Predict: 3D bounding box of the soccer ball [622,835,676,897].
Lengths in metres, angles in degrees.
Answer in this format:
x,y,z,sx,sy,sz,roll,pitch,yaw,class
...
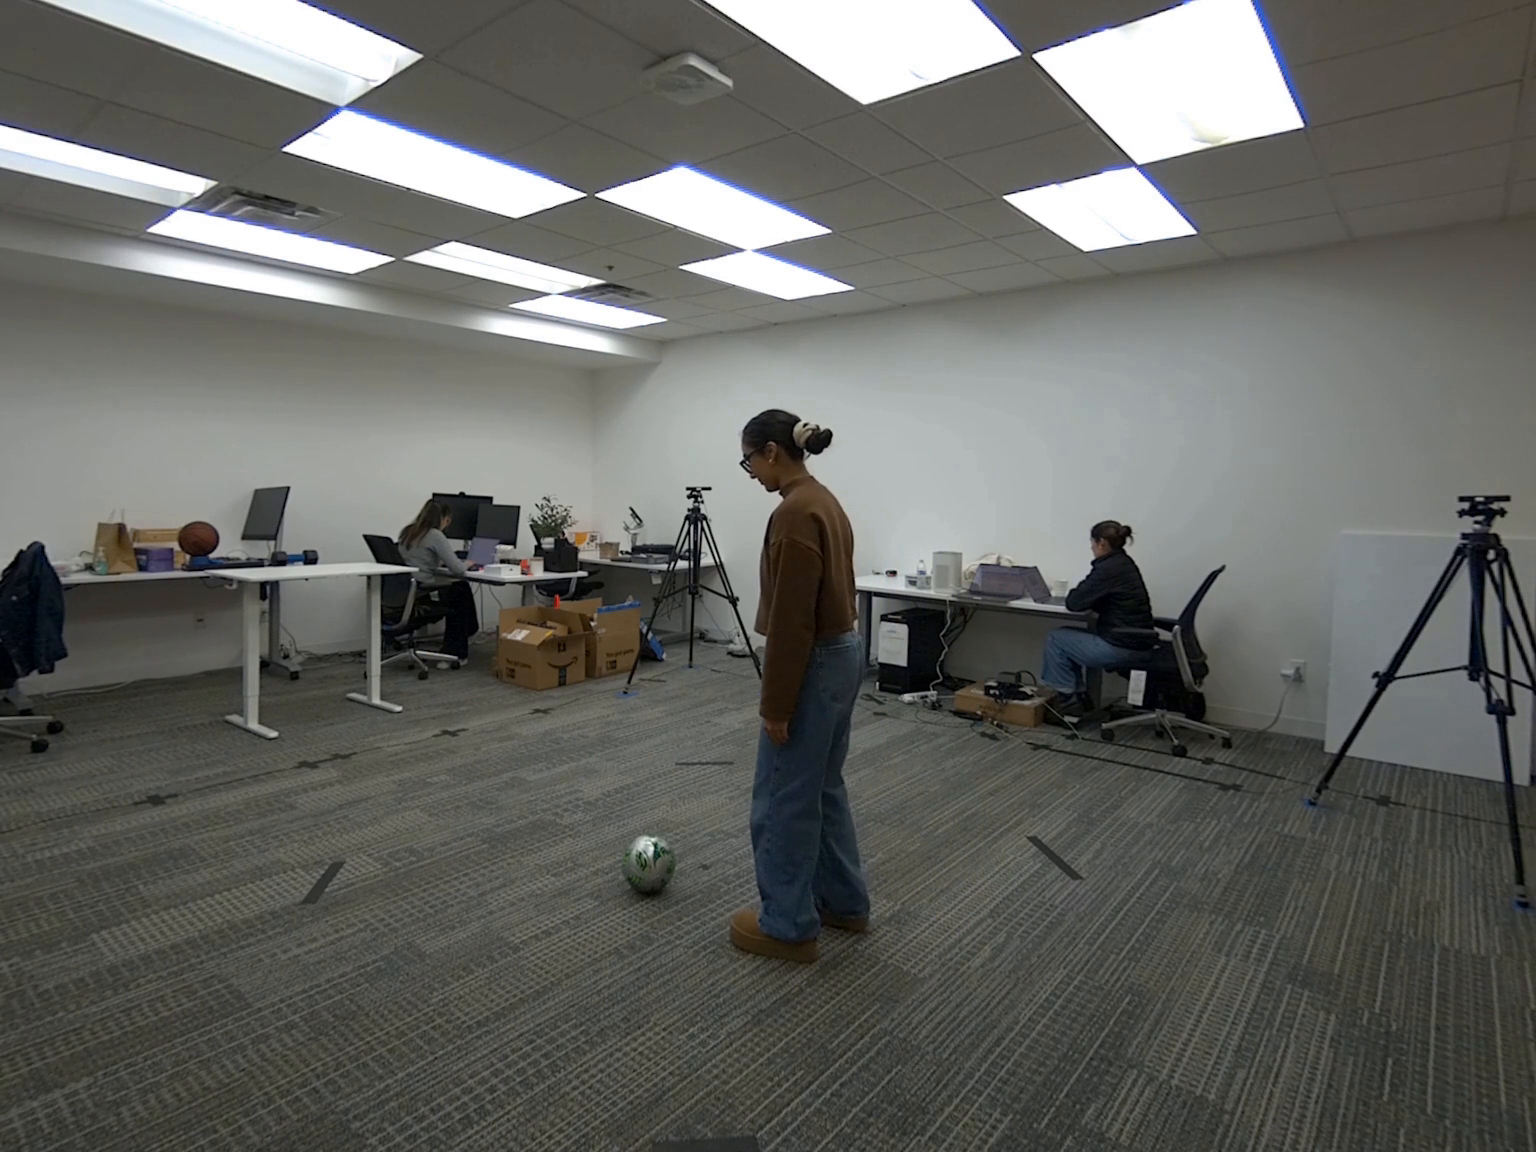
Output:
x,y,z,sx,sy,sz,roll,pitch,yaw,class
-0.420,0.982,2.922,0.187,0.187,0.188,1,4,-2,soccer ball
